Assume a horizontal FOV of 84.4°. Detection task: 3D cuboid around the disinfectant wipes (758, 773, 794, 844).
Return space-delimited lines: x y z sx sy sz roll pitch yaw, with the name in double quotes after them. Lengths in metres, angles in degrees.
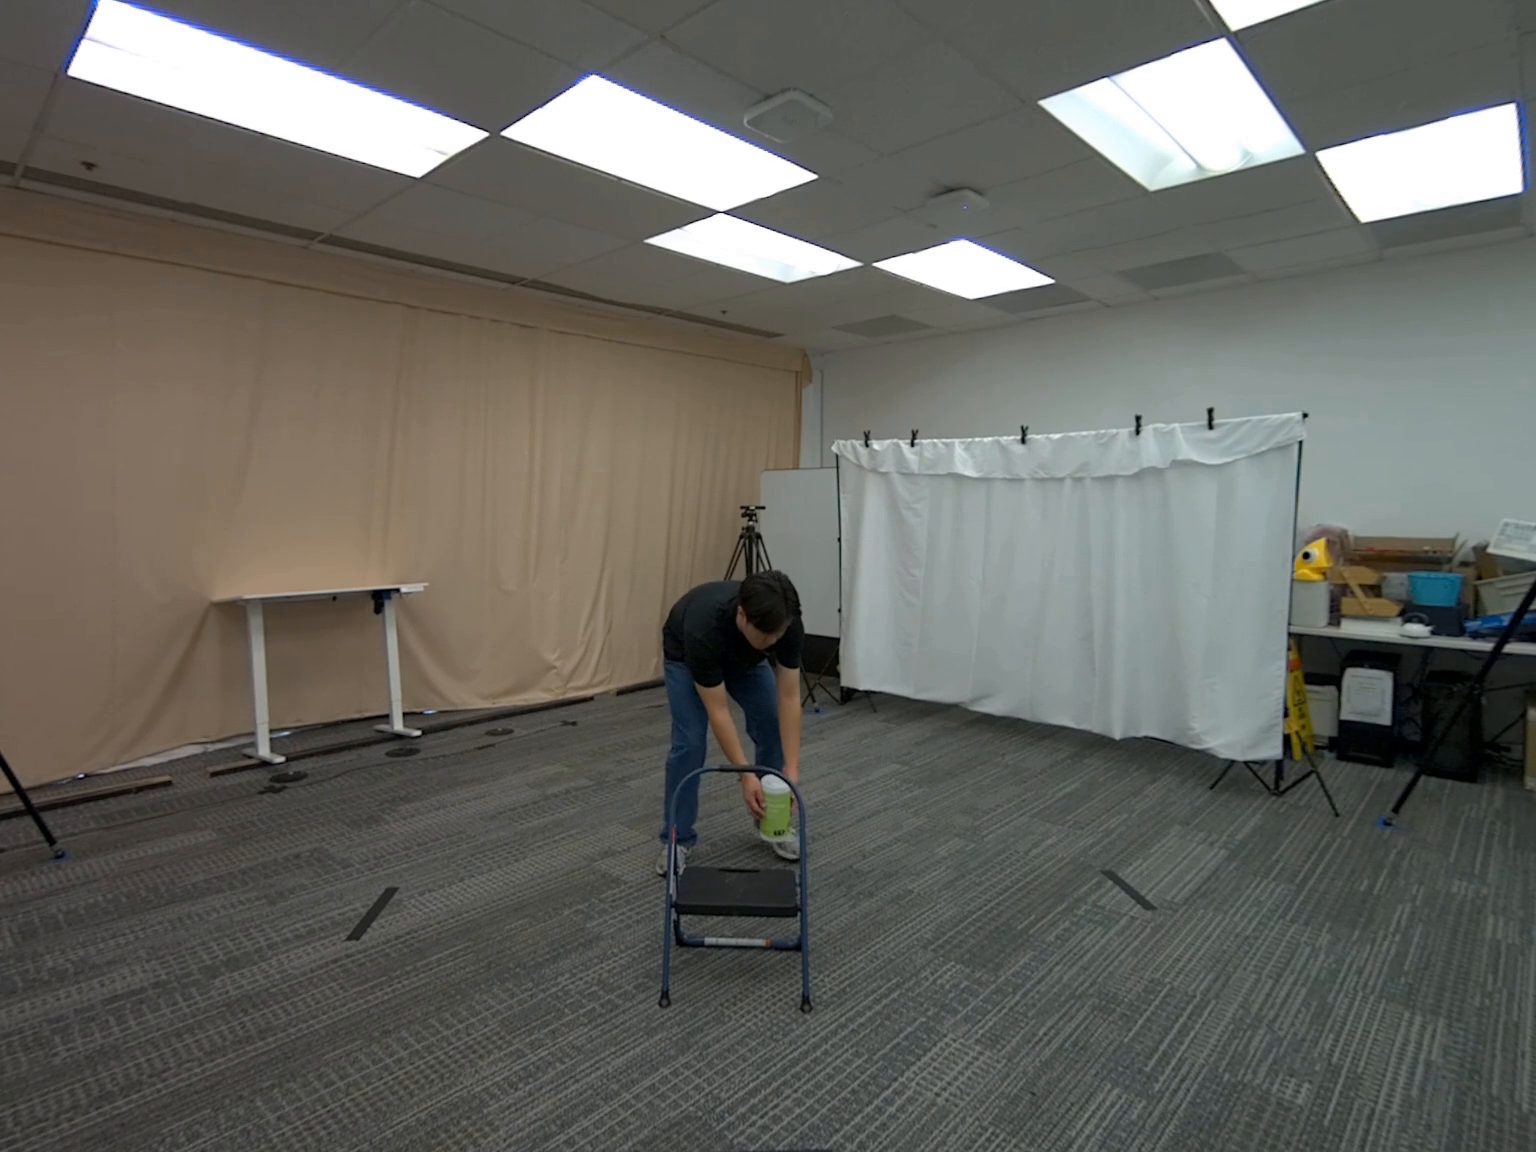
0.021 0.845 3.039 0.117 0.216 0.119 0 11 -2 "disinfectant wipes"
